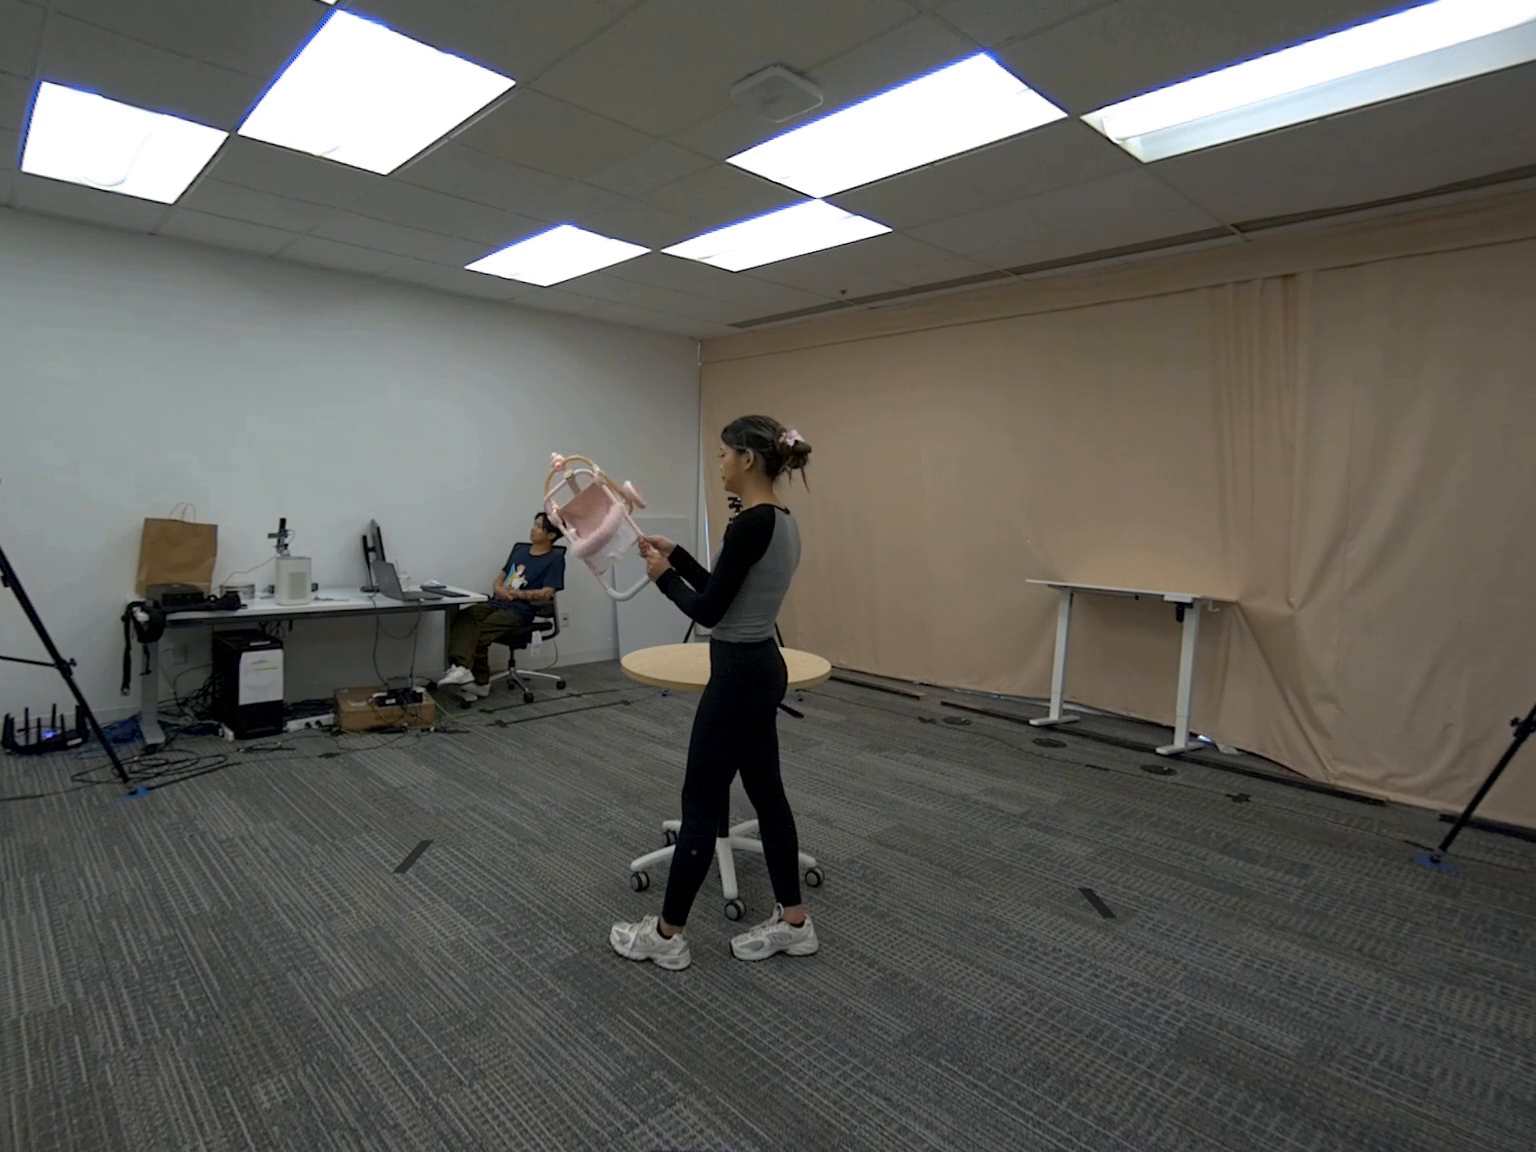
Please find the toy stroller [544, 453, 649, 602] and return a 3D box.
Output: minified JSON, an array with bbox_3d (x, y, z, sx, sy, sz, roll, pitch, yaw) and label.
[{"bbox_3d":[-0.559,-0.189,2.702,0.281,0.331,0.550,-35,34,2],"label":"toy stroller"}]
